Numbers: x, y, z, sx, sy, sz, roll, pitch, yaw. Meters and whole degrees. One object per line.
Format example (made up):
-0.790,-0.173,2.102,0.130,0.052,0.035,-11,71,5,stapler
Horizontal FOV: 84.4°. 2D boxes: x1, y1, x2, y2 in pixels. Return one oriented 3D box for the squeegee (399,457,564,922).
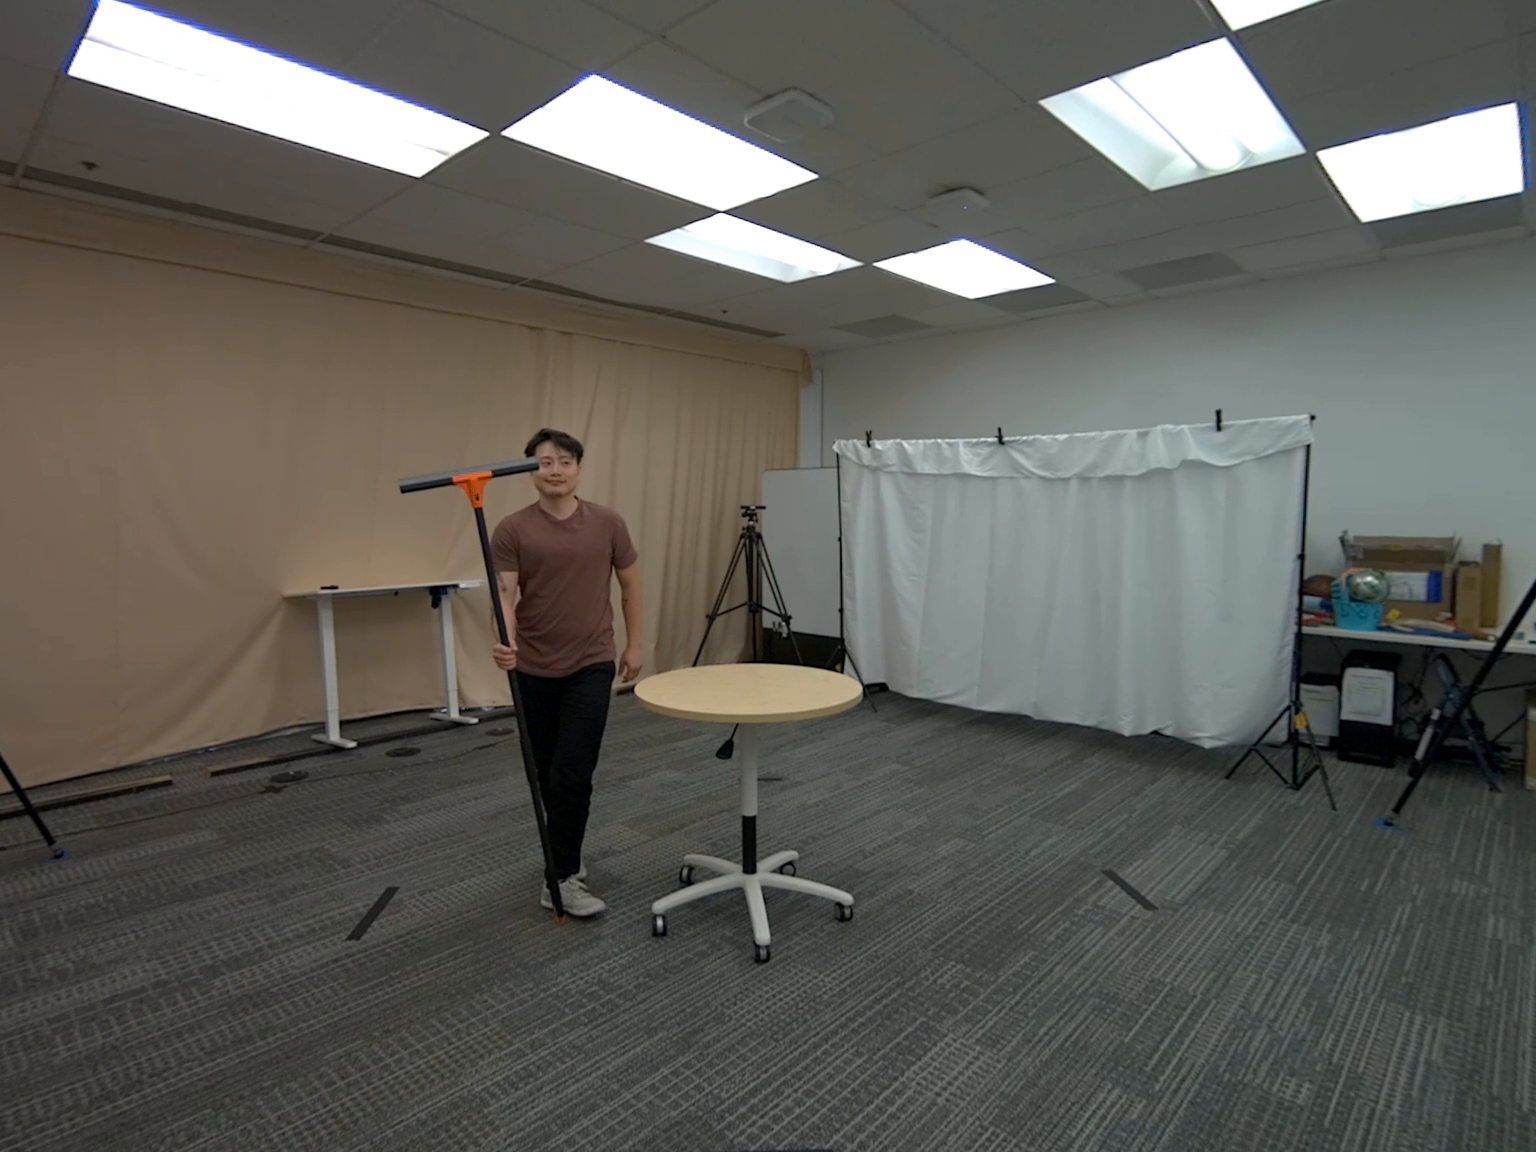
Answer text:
-0.774,0.414,2.718,0.428,1.527,0.054,-14,10,-27,squeegee
